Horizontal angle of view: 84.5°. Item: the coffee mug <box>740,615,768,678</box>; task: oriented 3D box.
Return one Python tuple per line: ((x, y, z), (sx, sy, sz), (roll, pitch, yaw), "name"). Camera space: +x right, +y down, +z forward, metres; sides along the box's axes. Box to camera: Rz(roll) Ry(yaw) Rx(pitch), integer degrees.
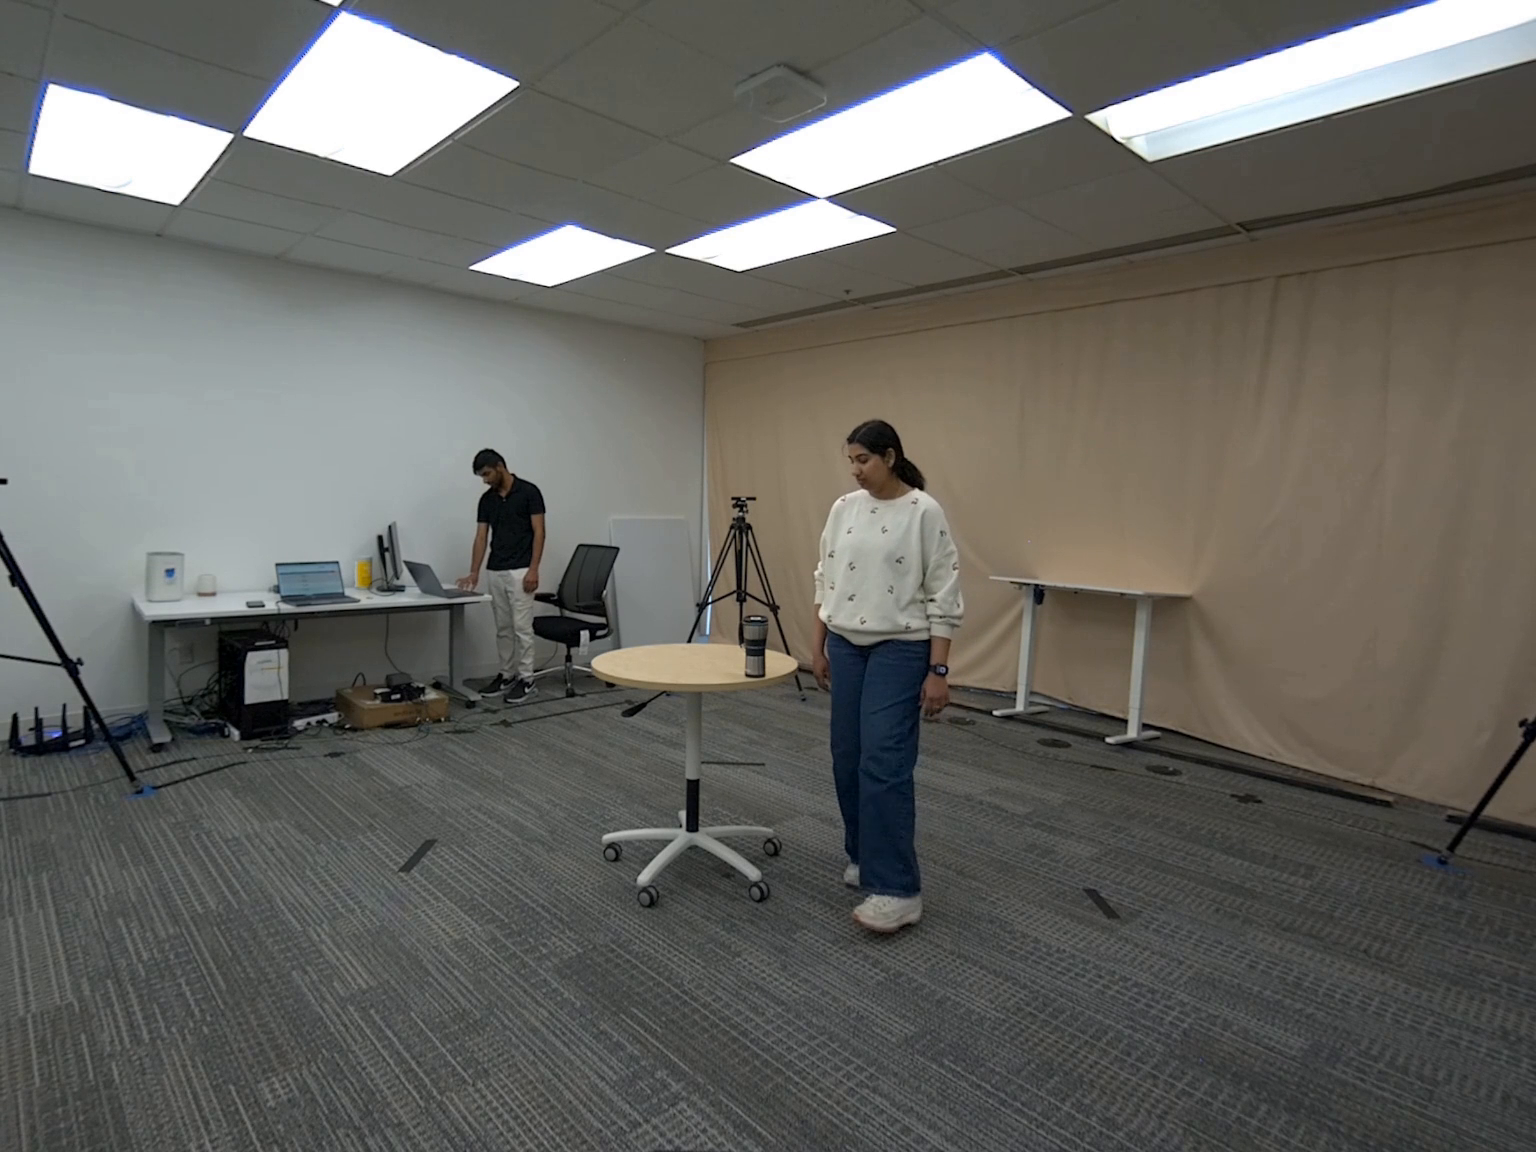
((-0.056, 0.240, 2.902), (0.086, 0.202, 0.125), (-4, 8, -25), "coffee mug")
